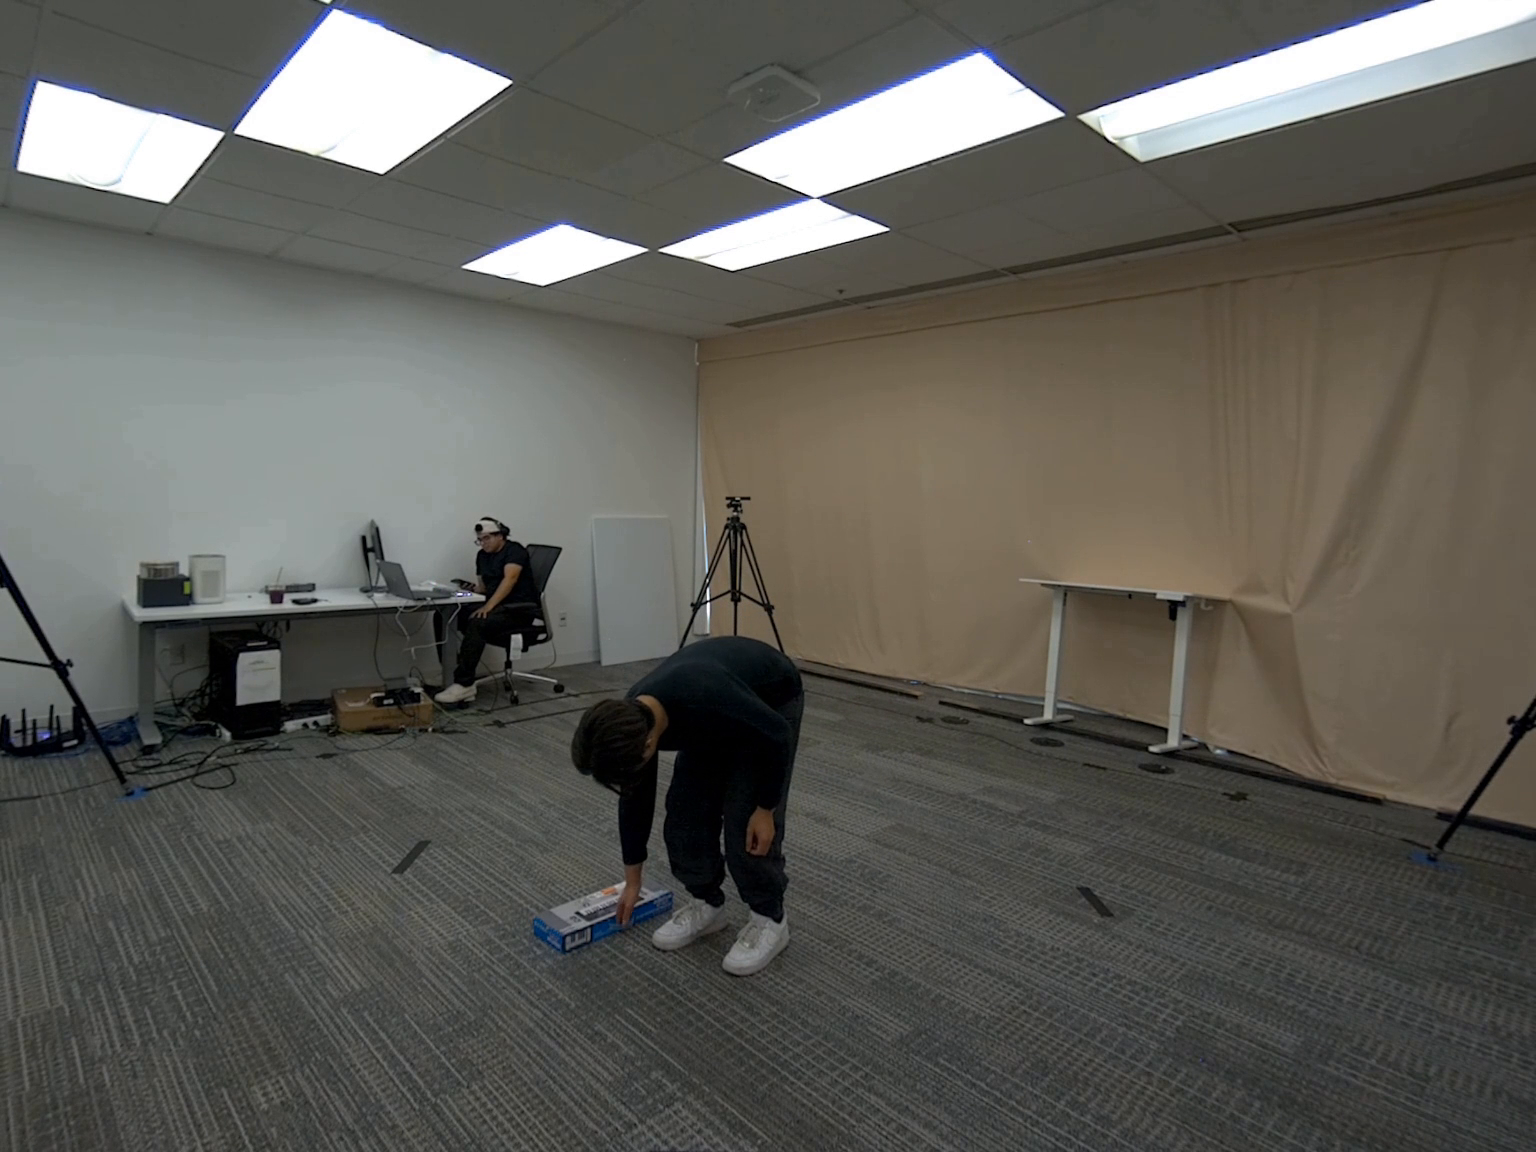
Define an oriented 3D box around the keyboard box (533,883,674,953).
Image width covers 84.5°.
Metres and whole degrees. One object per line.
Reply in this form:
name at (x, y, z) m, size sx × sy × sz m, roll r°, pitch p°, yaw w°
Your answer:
keyboard box at (-0.540, 1.100, 2.758) m, size 0.427 × 0.059 × 0.180 m, roll -4°, pitch 7°, yaw -45°
